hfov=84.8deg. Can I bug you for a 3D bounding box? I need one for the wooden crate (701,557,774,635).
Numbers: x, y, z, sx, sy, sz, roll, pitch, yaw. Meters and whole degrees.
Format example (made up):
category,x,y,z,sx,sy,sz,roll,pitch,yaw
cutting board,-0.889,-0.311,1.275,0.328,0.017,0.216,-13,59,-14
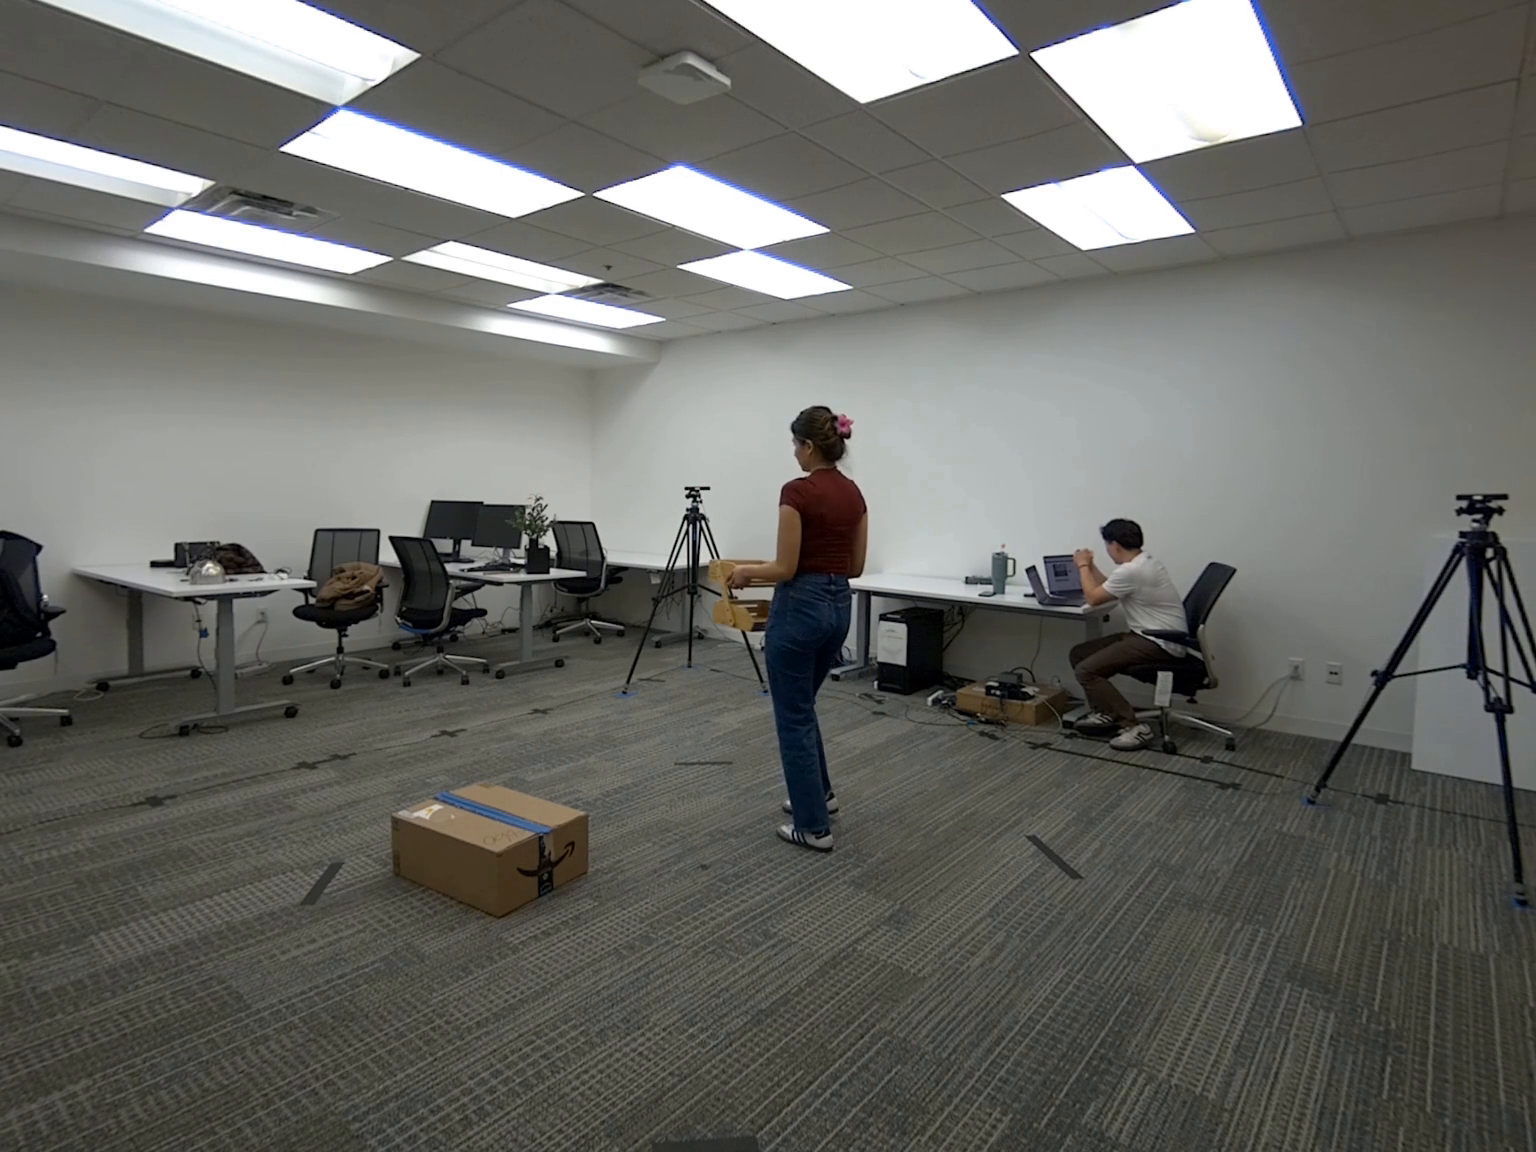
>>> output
category,x,y,z,sx,sy,sz,roll,pitch,yaw
wooden crate,-0.053,0.074,3.575,0.314,0.272,0.313,1,6,-42
